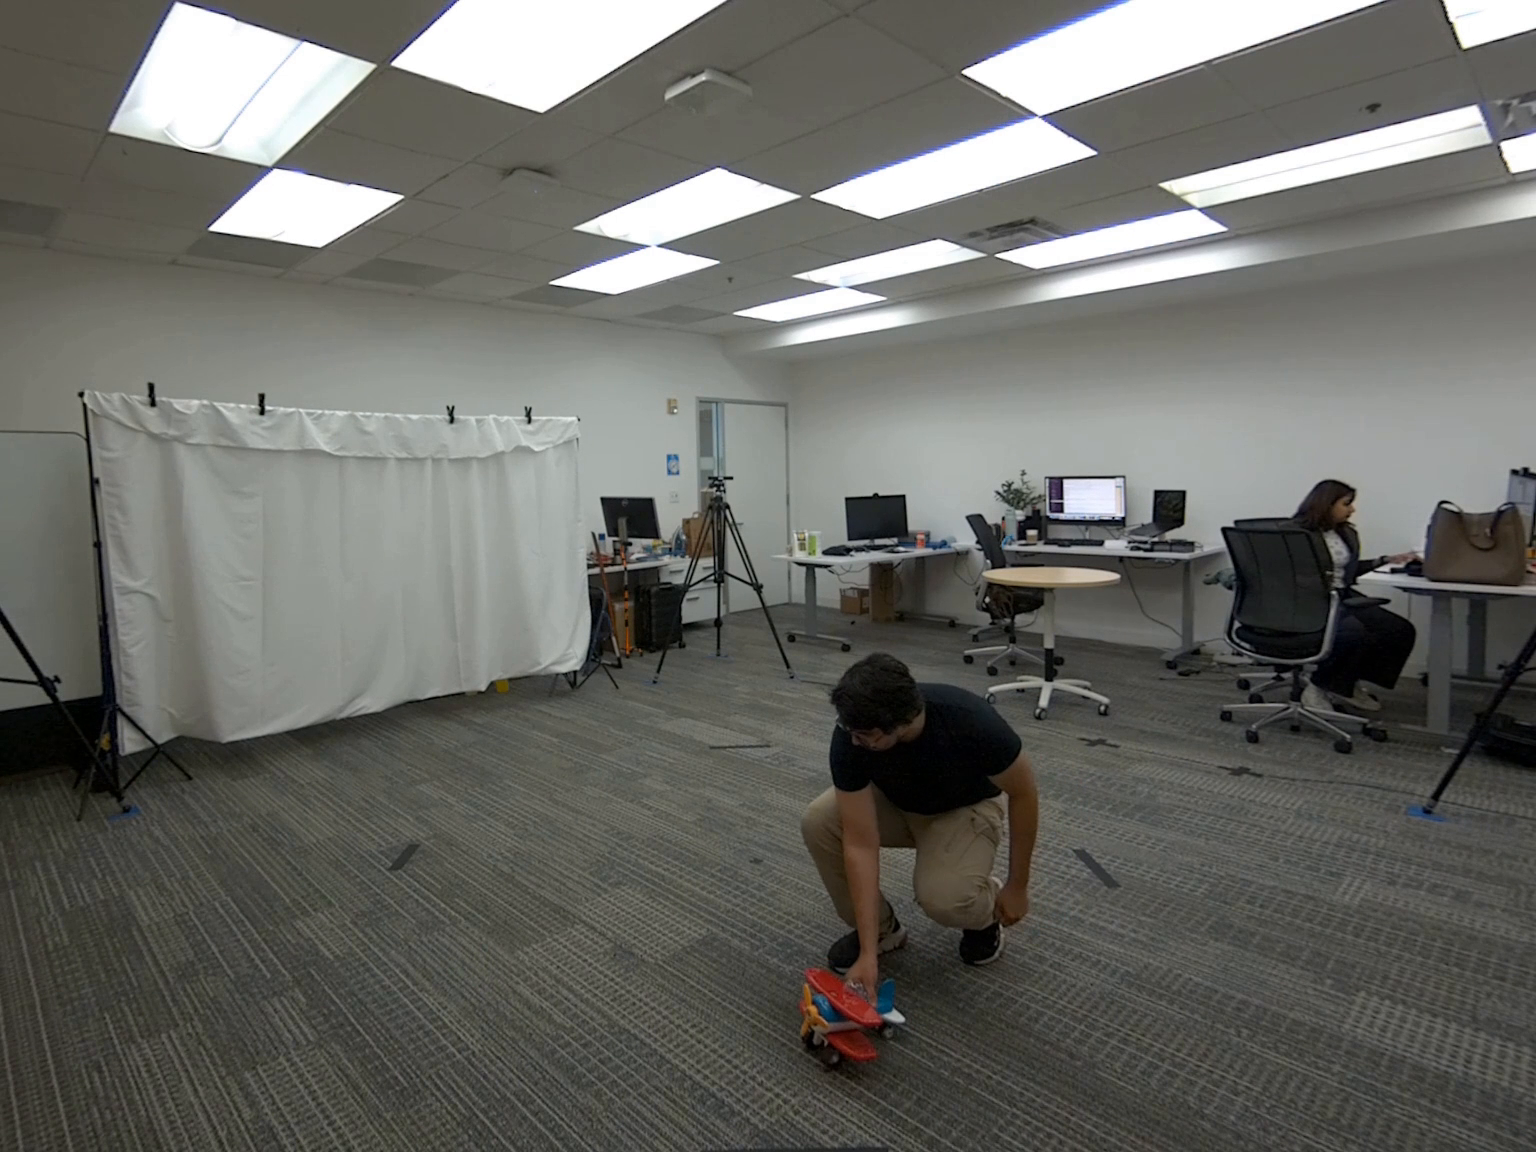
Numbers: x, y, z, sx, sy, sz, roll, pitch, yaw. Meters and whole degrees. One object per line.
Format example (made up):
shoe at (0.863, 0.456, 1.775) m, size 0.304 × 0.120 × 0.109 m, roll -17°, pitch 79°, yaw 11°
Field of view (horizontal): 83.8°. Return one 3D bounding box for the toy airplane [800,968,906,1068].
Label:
toy airplane at (0.201, 1.074, 2.103) m, size 0.258 × 0.156 × 0.253 m, roll 2°, pitch 6°, yaw 31°
